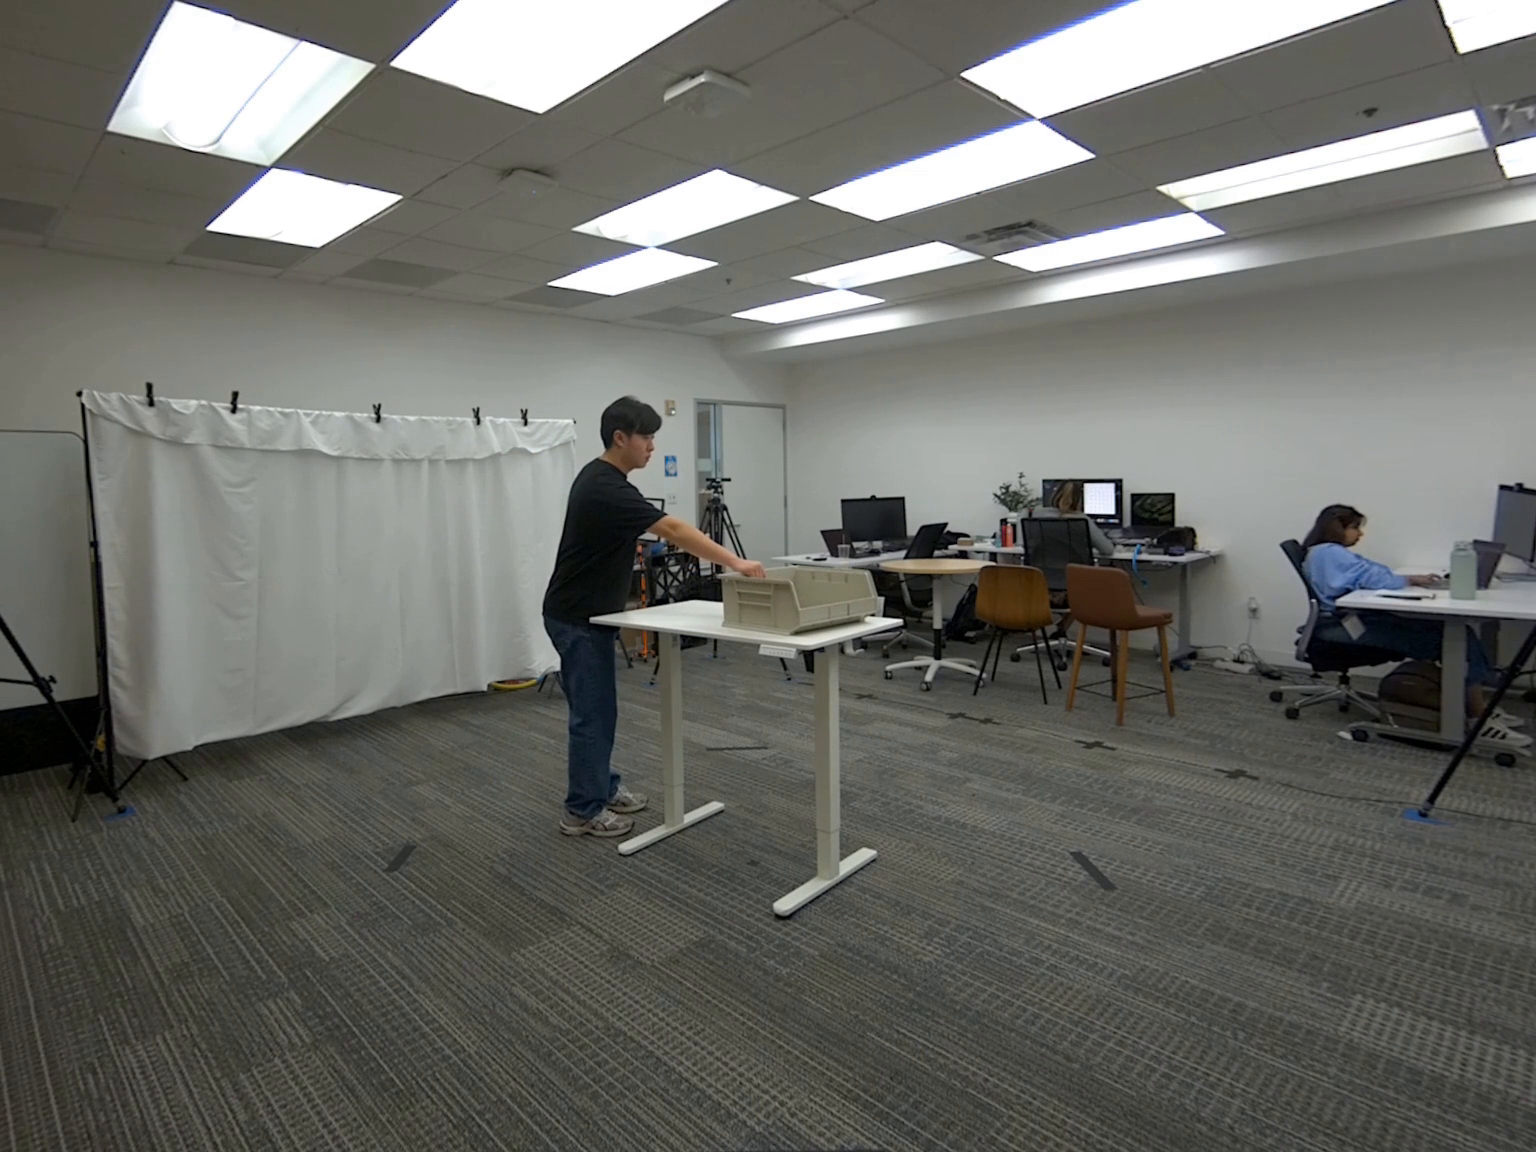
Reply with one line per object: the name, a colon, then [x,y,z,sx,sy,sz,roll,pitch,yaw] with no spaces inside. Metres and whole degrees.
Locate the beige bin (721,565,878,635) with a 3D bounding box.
beige bin: [0.106,0.082,2.977,0.411,0.188,0.389,-7,7,-44]
